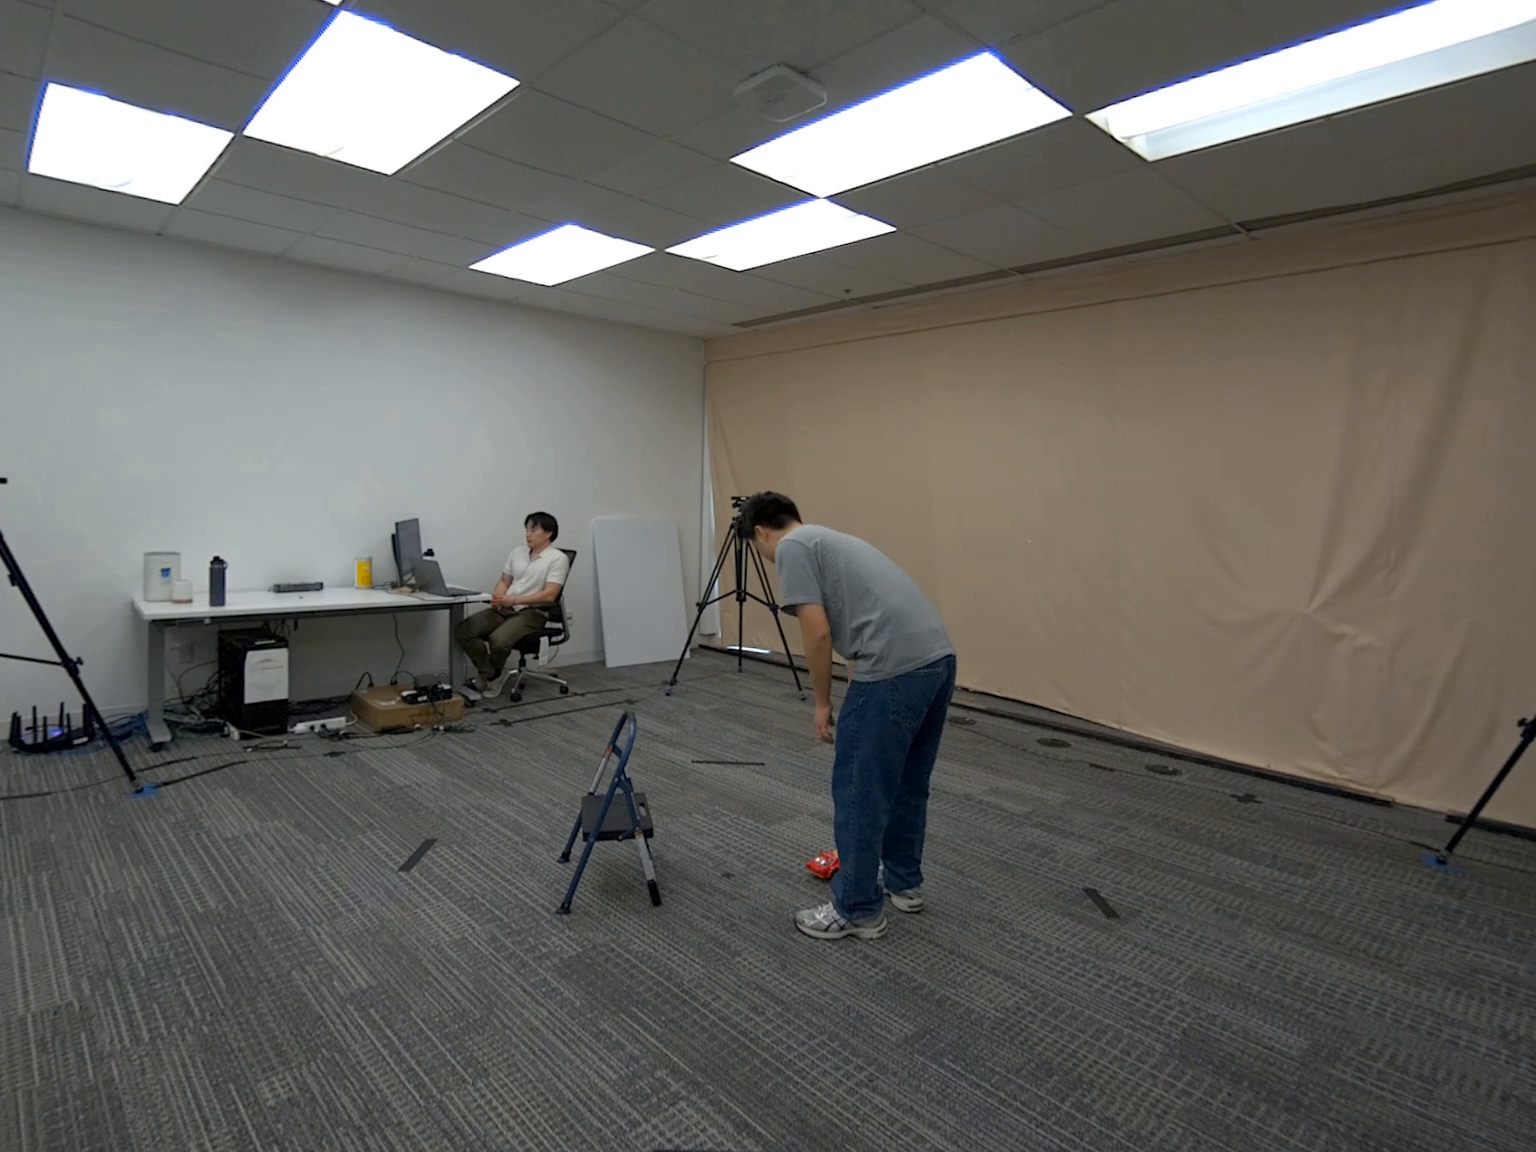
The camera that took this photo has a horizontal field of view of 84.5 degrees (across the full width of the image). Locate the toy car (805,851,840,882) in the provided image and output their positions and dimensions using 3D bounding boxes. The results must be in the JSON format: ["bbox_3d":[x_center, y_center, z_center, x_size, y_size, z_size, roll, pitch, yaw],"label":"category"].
[{"bbox_3d":[0.247,1.081,3.148,0.248,0.083,0.133,12,-4,-38],"label":"toy car"}]
